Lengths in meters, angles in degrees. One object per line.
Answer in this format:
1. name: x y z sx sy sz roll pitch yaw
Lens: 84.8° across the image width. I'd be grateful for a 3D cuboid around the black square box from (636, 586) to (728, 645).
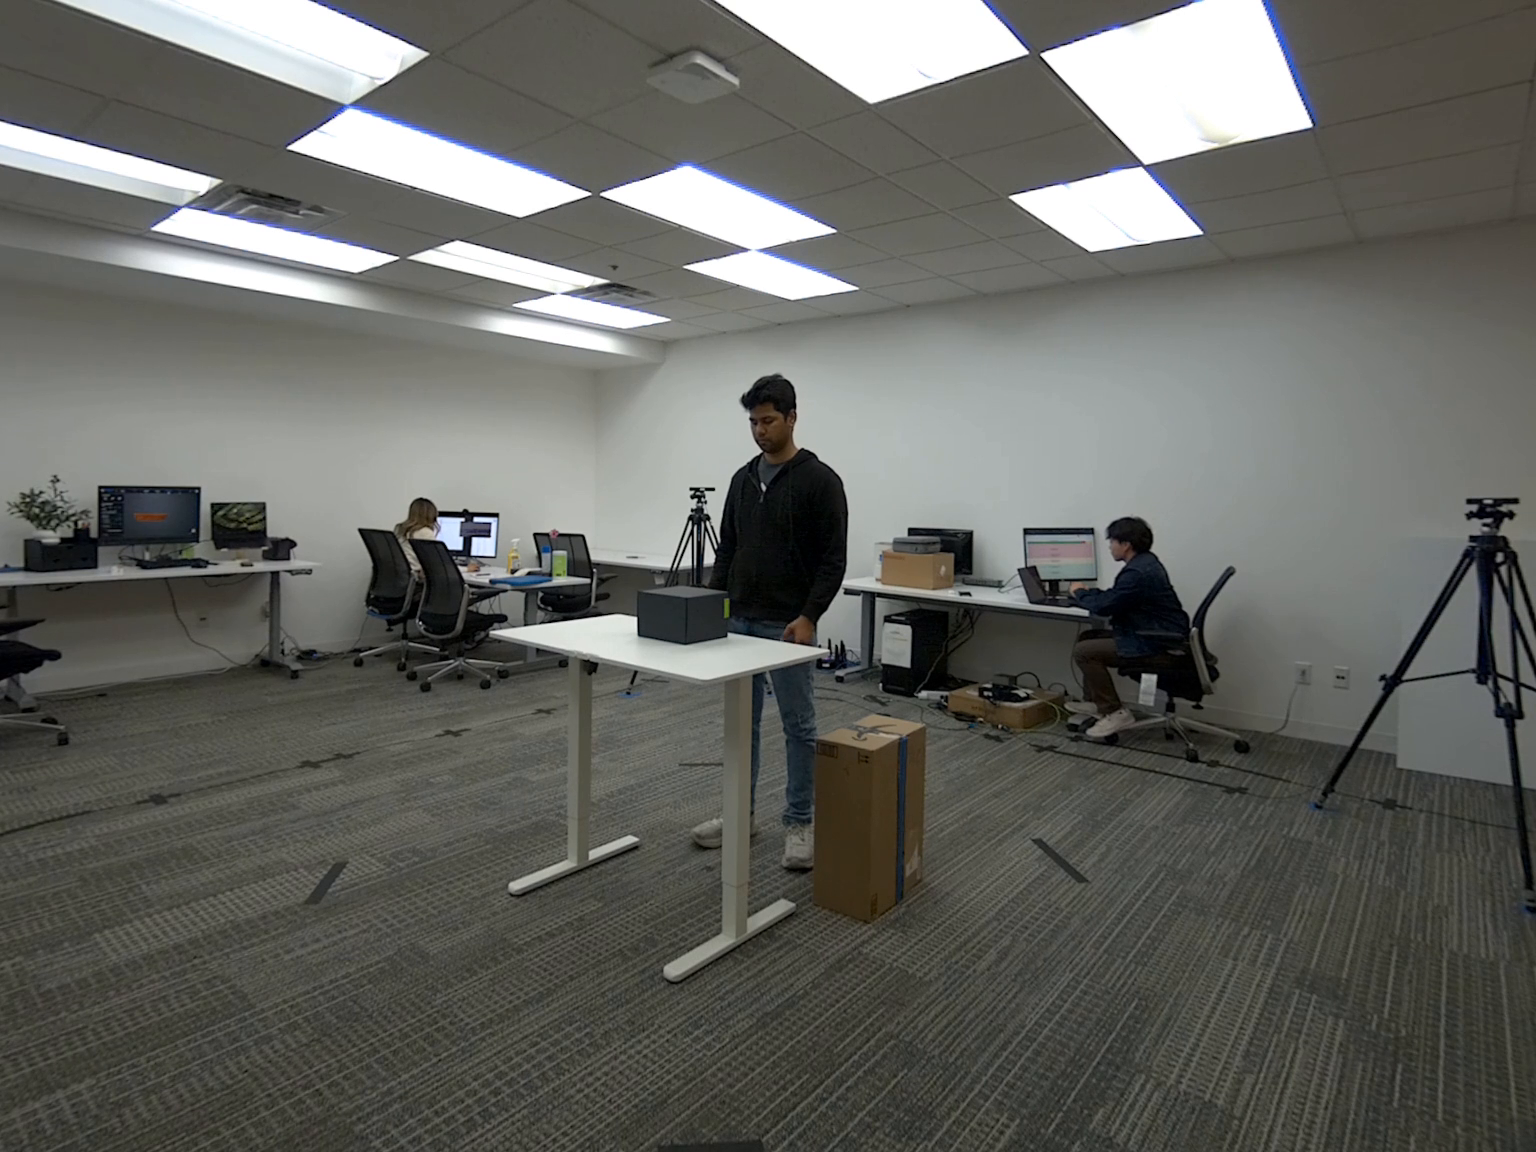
1. black square box: -0.299 0.126 2.883 0.235 0.155 0.210 5 6 39
